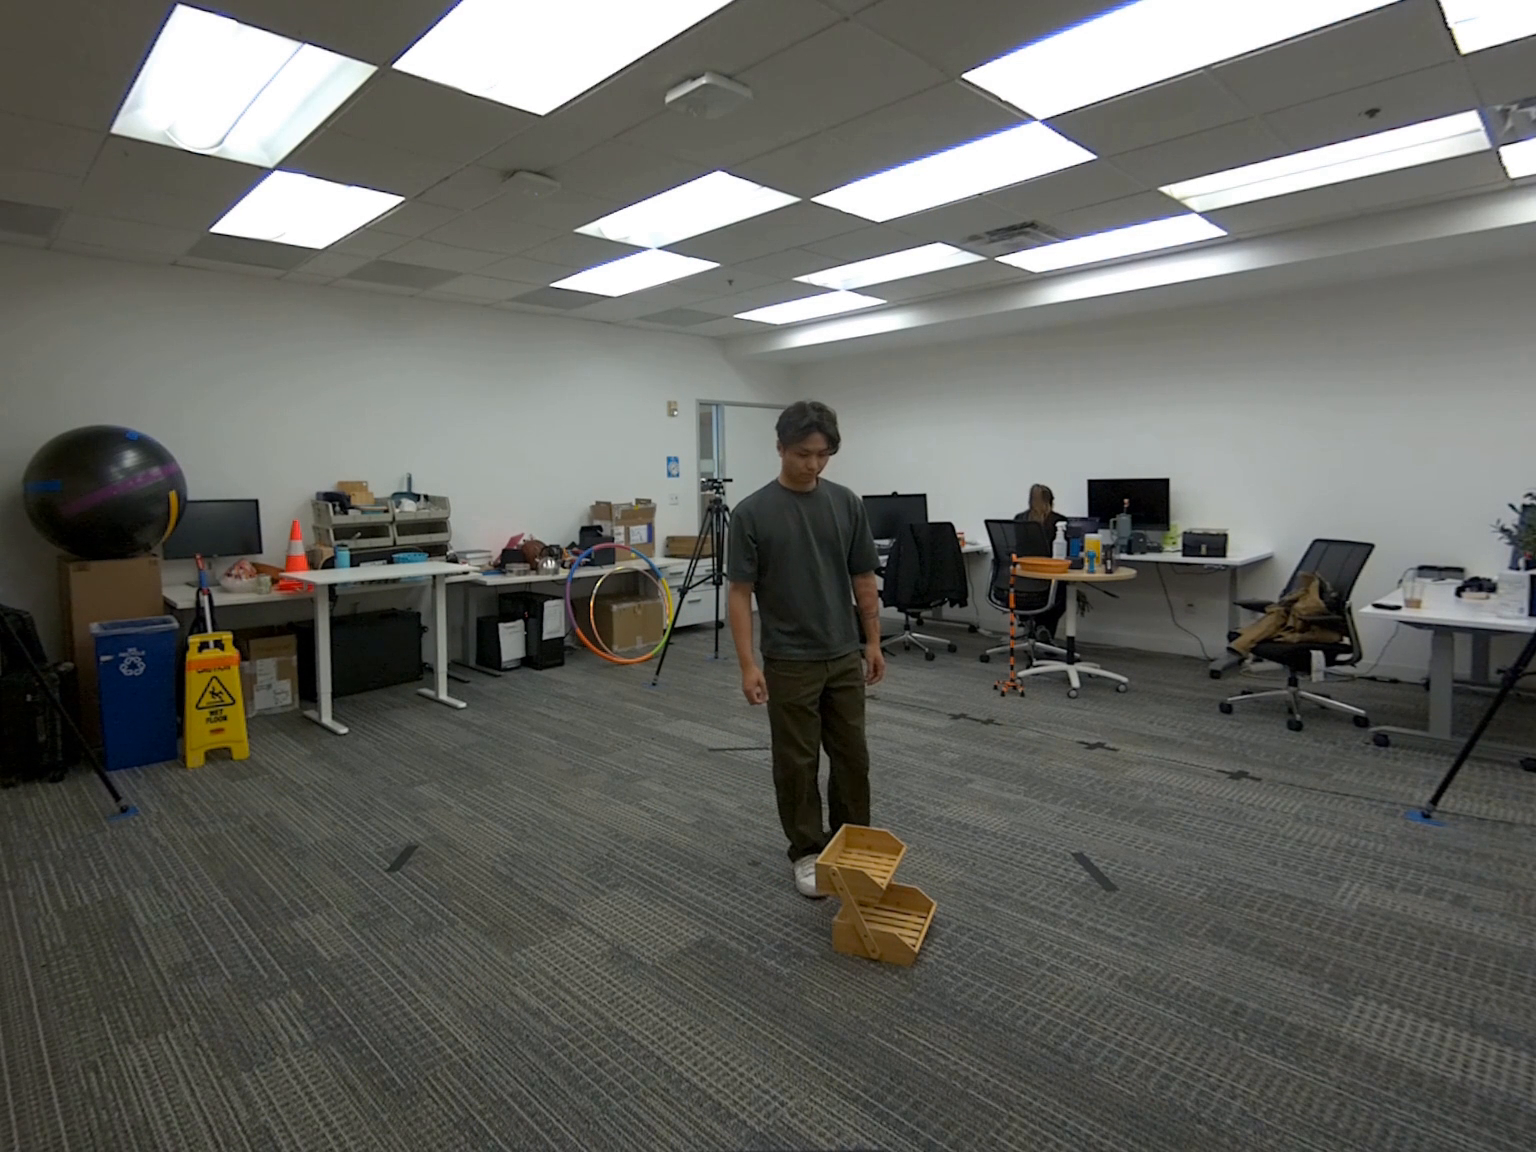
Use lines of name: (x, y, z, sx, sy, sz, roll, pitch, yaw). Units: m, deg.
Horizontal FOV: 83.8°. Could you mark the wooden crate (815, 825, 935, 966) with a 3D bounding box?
wooden crate: (0.350, 0.968, 2.613, 0.308, 0.272, 0.319, 0, 5, 22)
